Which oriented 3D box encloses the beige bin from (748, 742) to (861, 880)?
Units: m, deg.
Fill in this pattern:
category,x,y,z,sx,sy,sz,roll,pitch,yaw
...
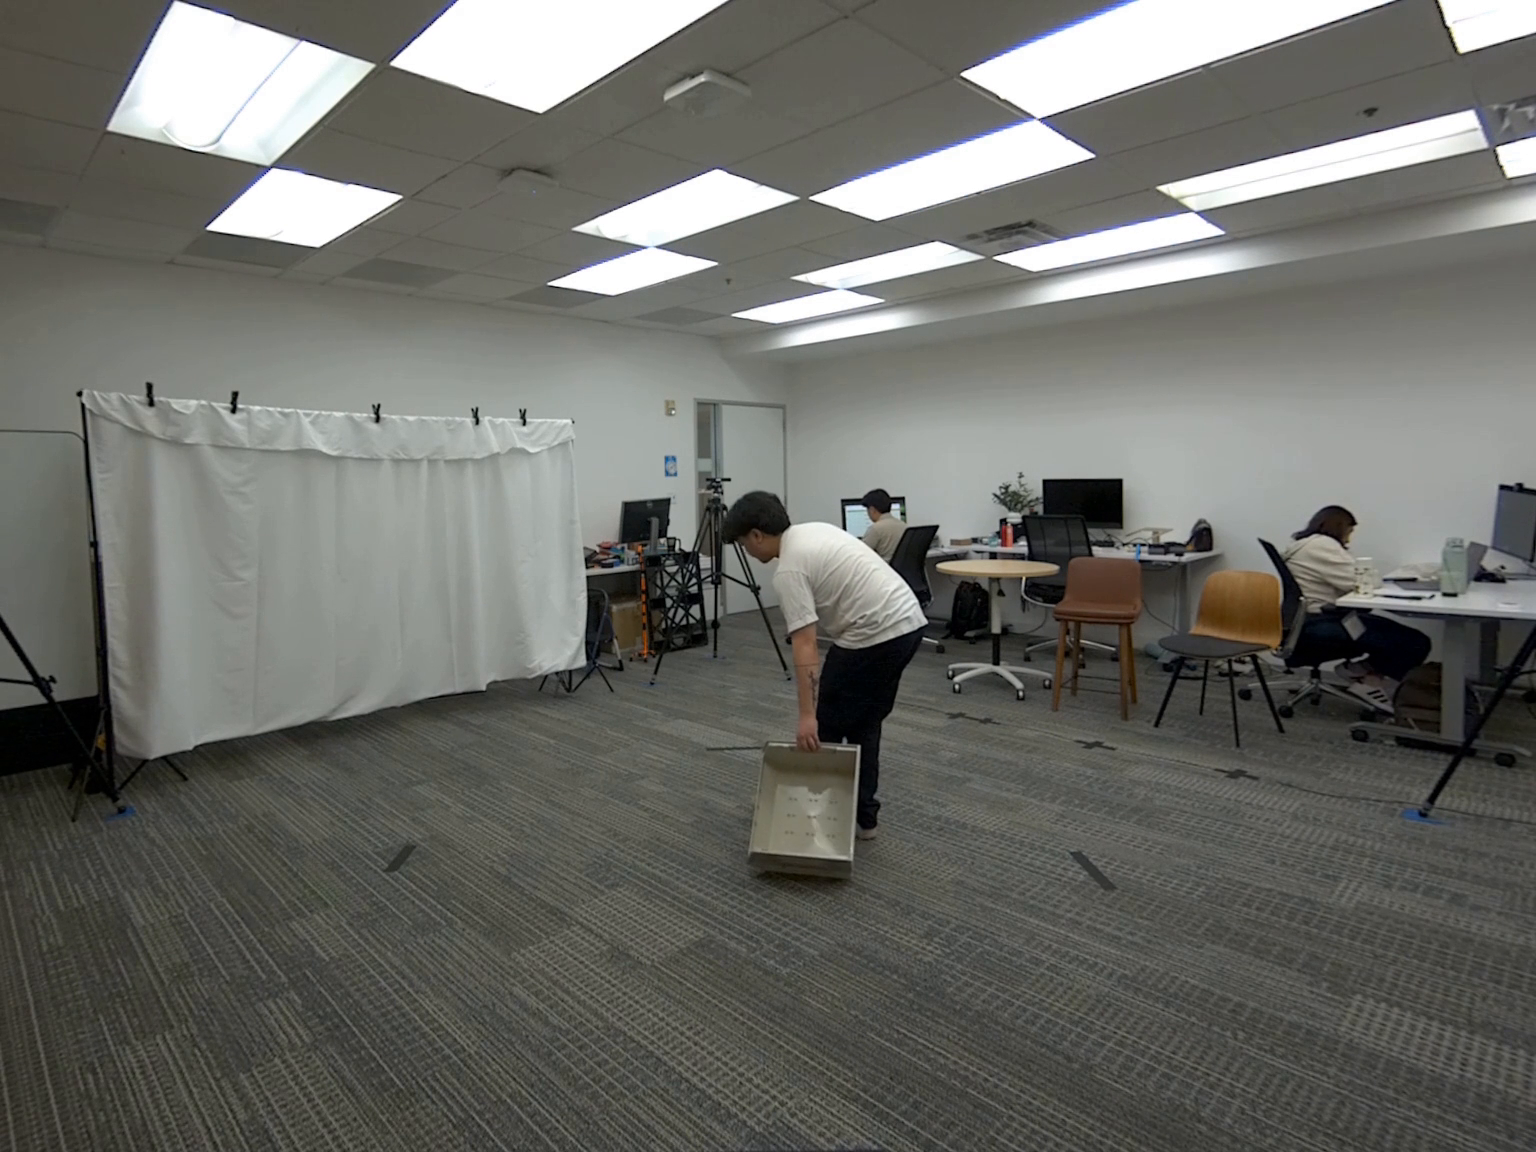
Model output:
category,x,y,z,sx,sy,sz,roll,pitch,yaw
beige bin,0.137,0.830,3.066,0.382,0.431,0.183,1,-41,12
